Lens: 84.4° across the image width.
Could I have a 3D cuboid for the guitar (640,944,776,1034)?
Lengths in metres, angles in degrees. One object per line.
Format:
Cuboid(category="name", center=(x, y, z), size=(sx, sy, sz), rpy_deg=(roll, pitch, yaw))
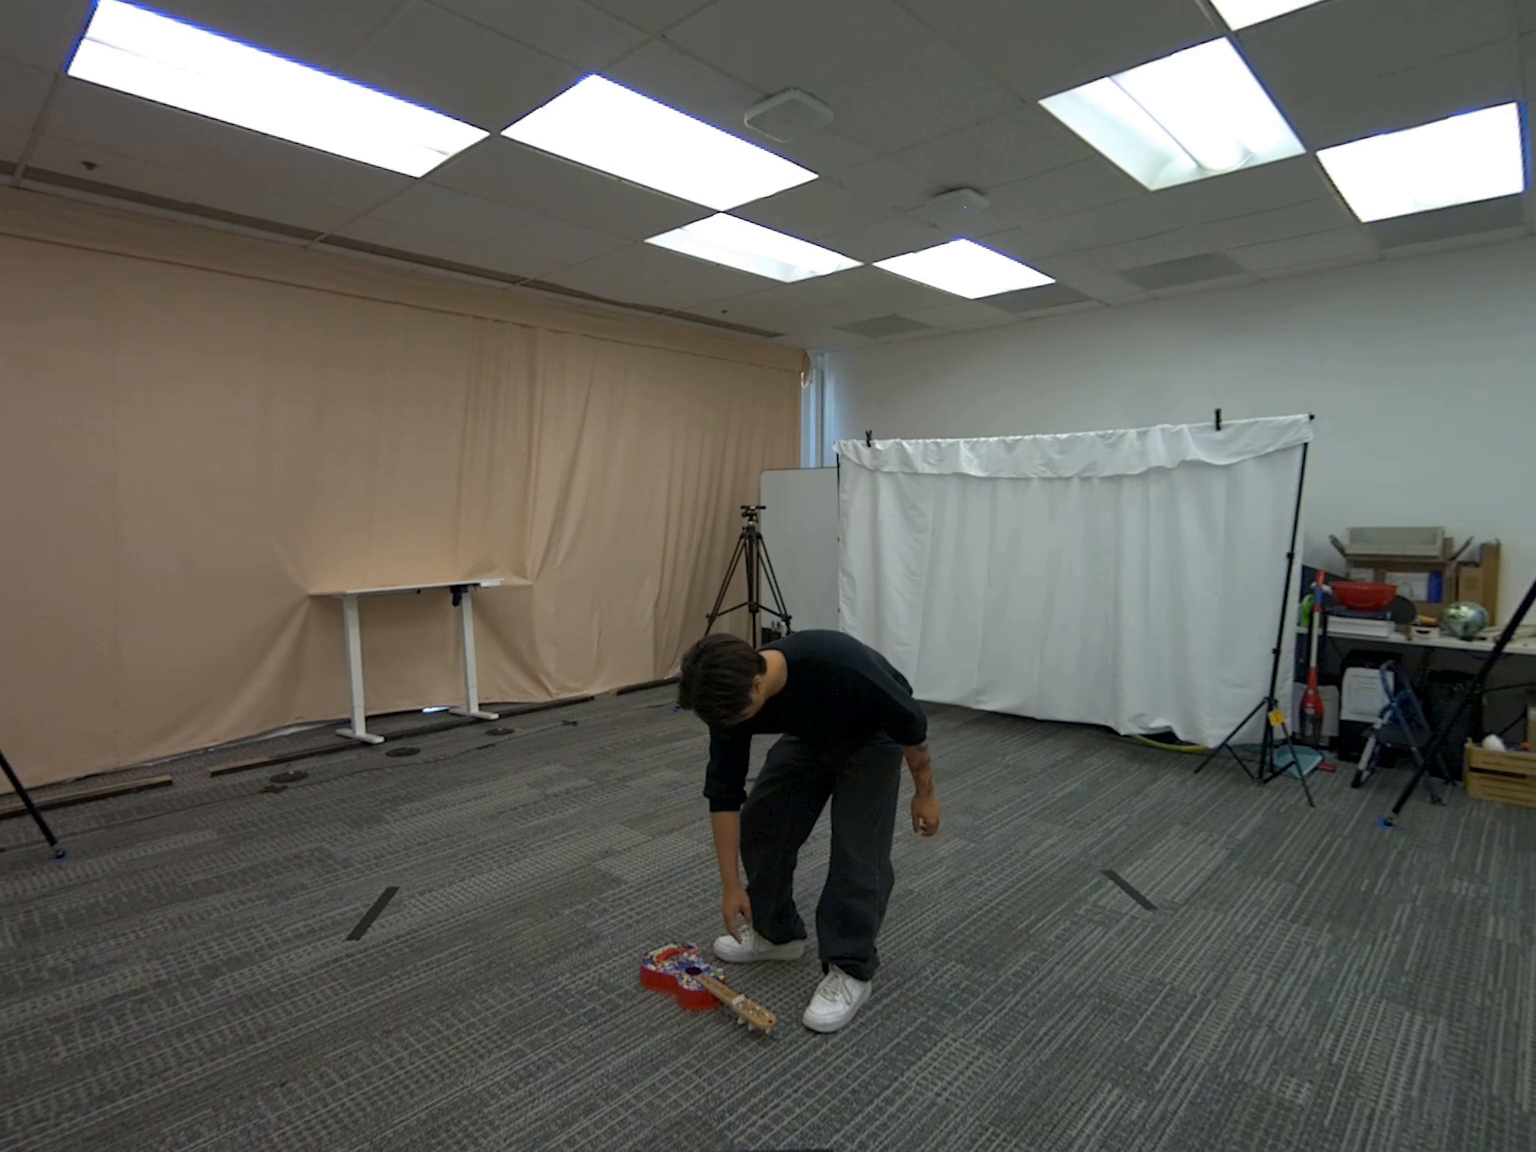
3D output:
Cuboid(category="guitar", center=(-0.183, 1.169, 2.340), size=(0.187, 0.070, 0.513), rpy_deg=(-3, 5, -33))
